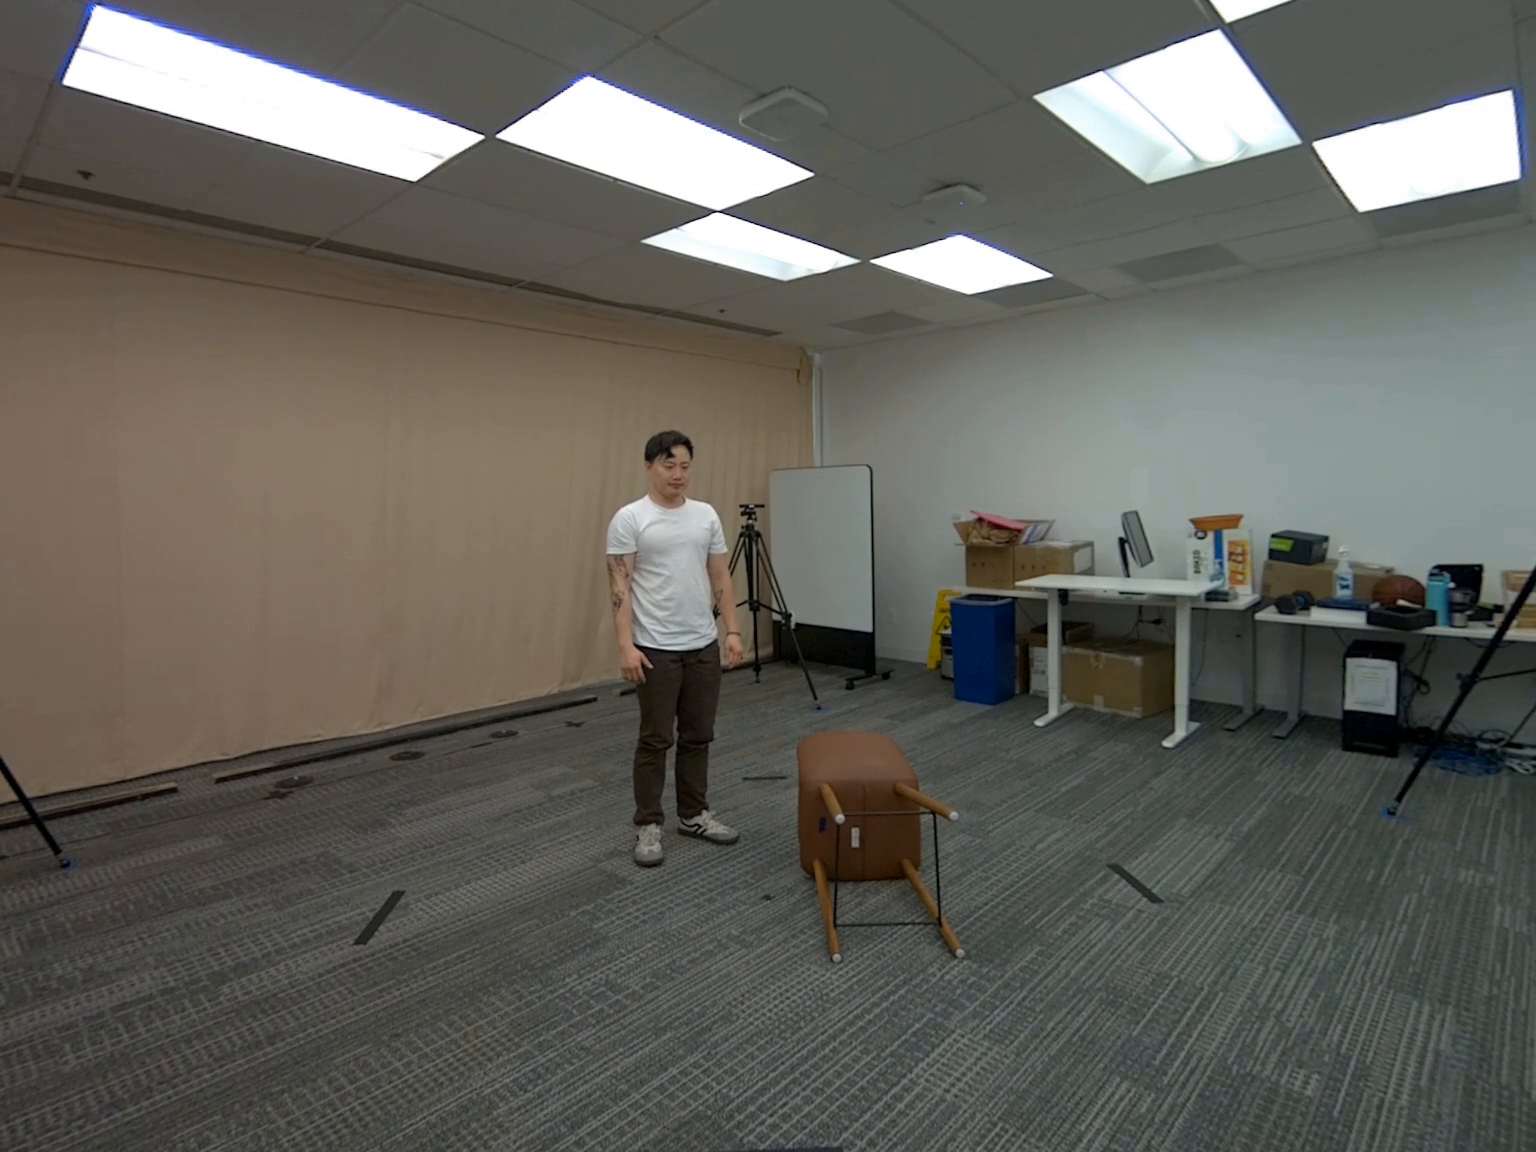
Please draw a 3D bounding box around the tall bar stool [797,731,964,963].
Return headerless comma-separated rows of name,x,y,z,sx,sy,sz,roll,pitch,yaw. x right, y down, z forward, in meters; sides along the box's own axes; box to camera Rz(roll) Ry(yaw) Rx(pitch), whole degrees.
tall bar stool,0.356,0.901,2.984,0.455,0.466,0.896,-2,6,-5
